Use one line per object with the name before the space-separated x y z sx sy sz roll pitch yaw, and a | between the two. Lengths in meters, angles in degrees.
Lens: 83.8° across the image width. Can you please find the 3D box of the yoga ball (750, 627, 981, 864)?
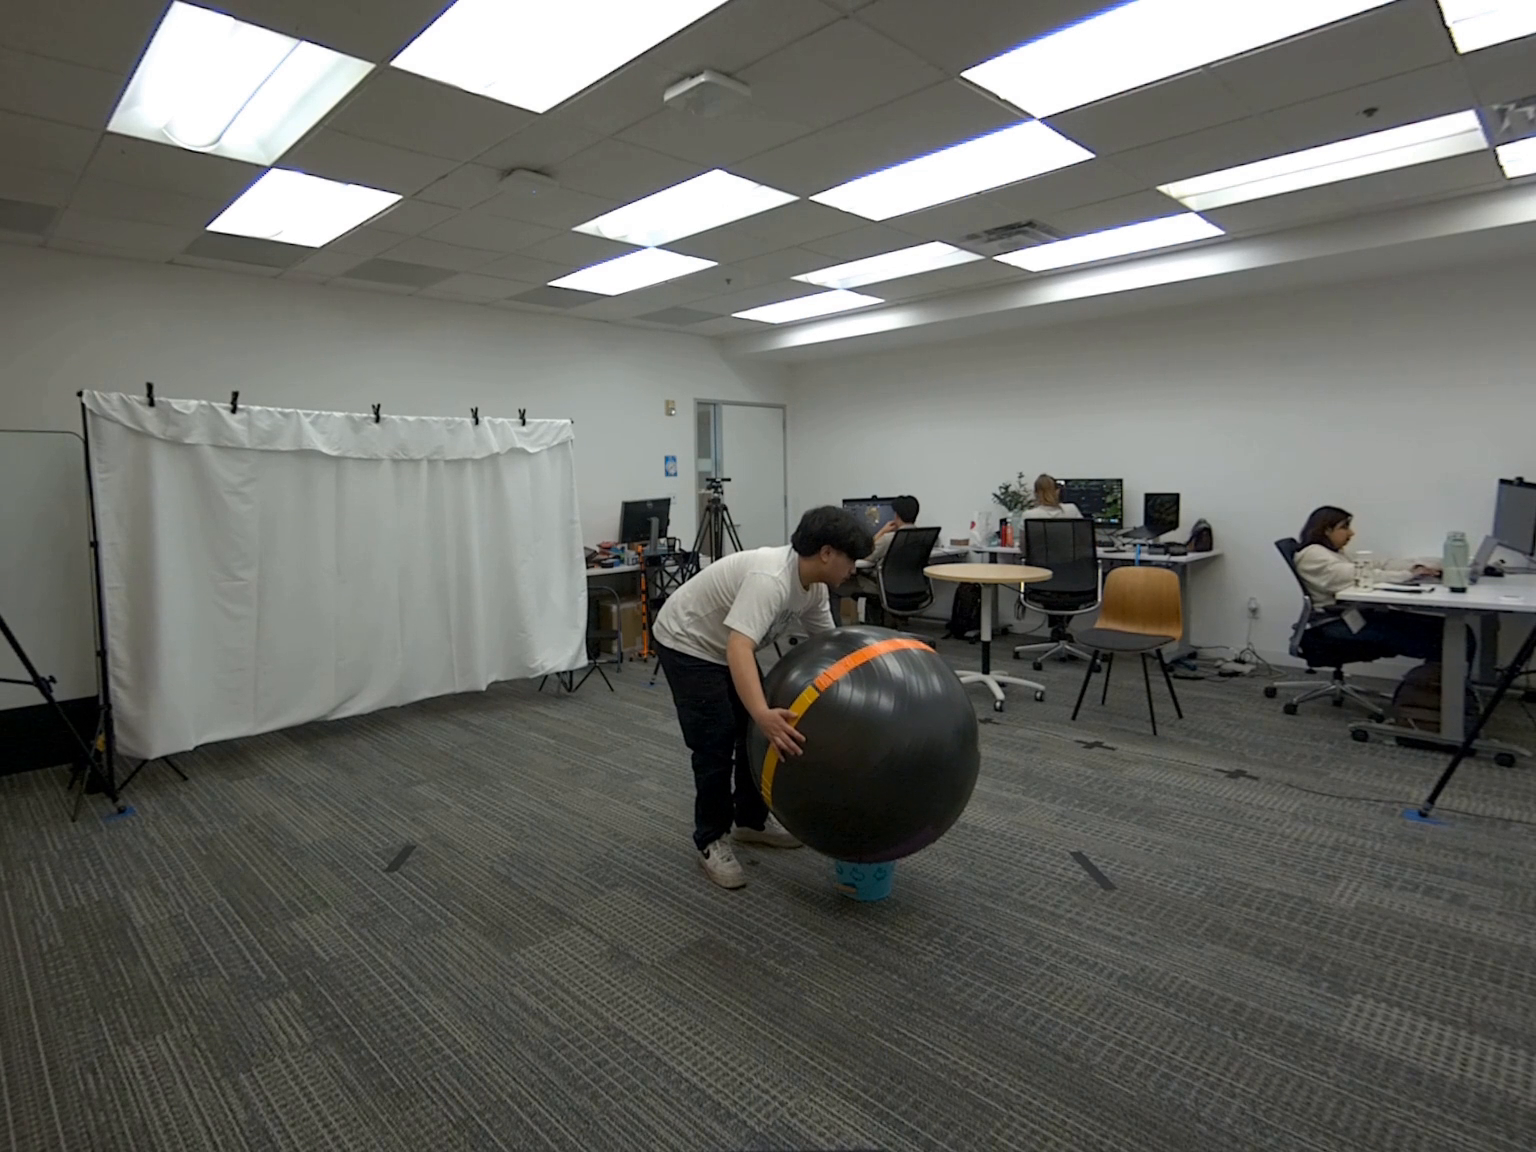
yoga ball | 0.320 0.556 2.814 0.757 0.755 0.762 -1 5 -2
